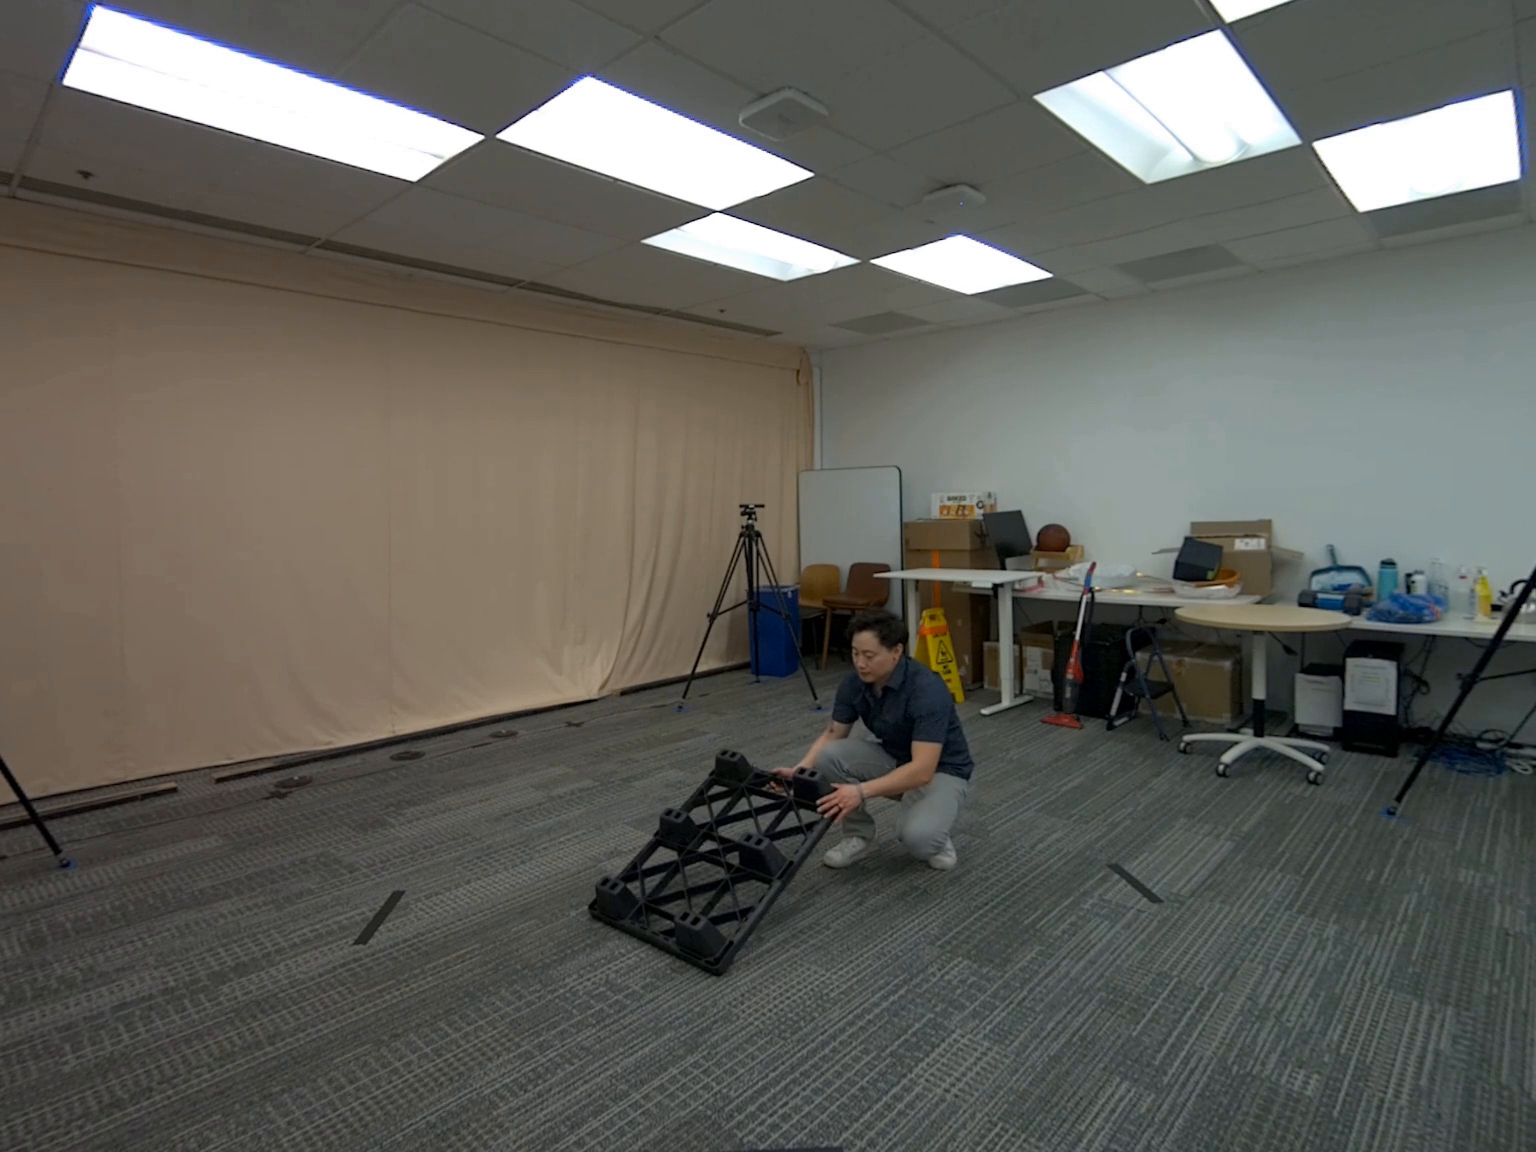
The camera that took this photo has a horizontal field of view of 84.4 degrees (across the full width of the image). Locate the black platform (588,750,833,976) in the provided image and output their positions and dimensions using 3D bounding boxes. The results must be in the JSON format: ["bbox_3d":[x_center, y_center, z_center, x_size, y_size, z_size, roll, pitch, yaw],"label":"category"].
[{"bbox_3d":[-0.172,0.924,2.916,0.625,0.140,0.795,3,32,40],"label":"black platform"}]
